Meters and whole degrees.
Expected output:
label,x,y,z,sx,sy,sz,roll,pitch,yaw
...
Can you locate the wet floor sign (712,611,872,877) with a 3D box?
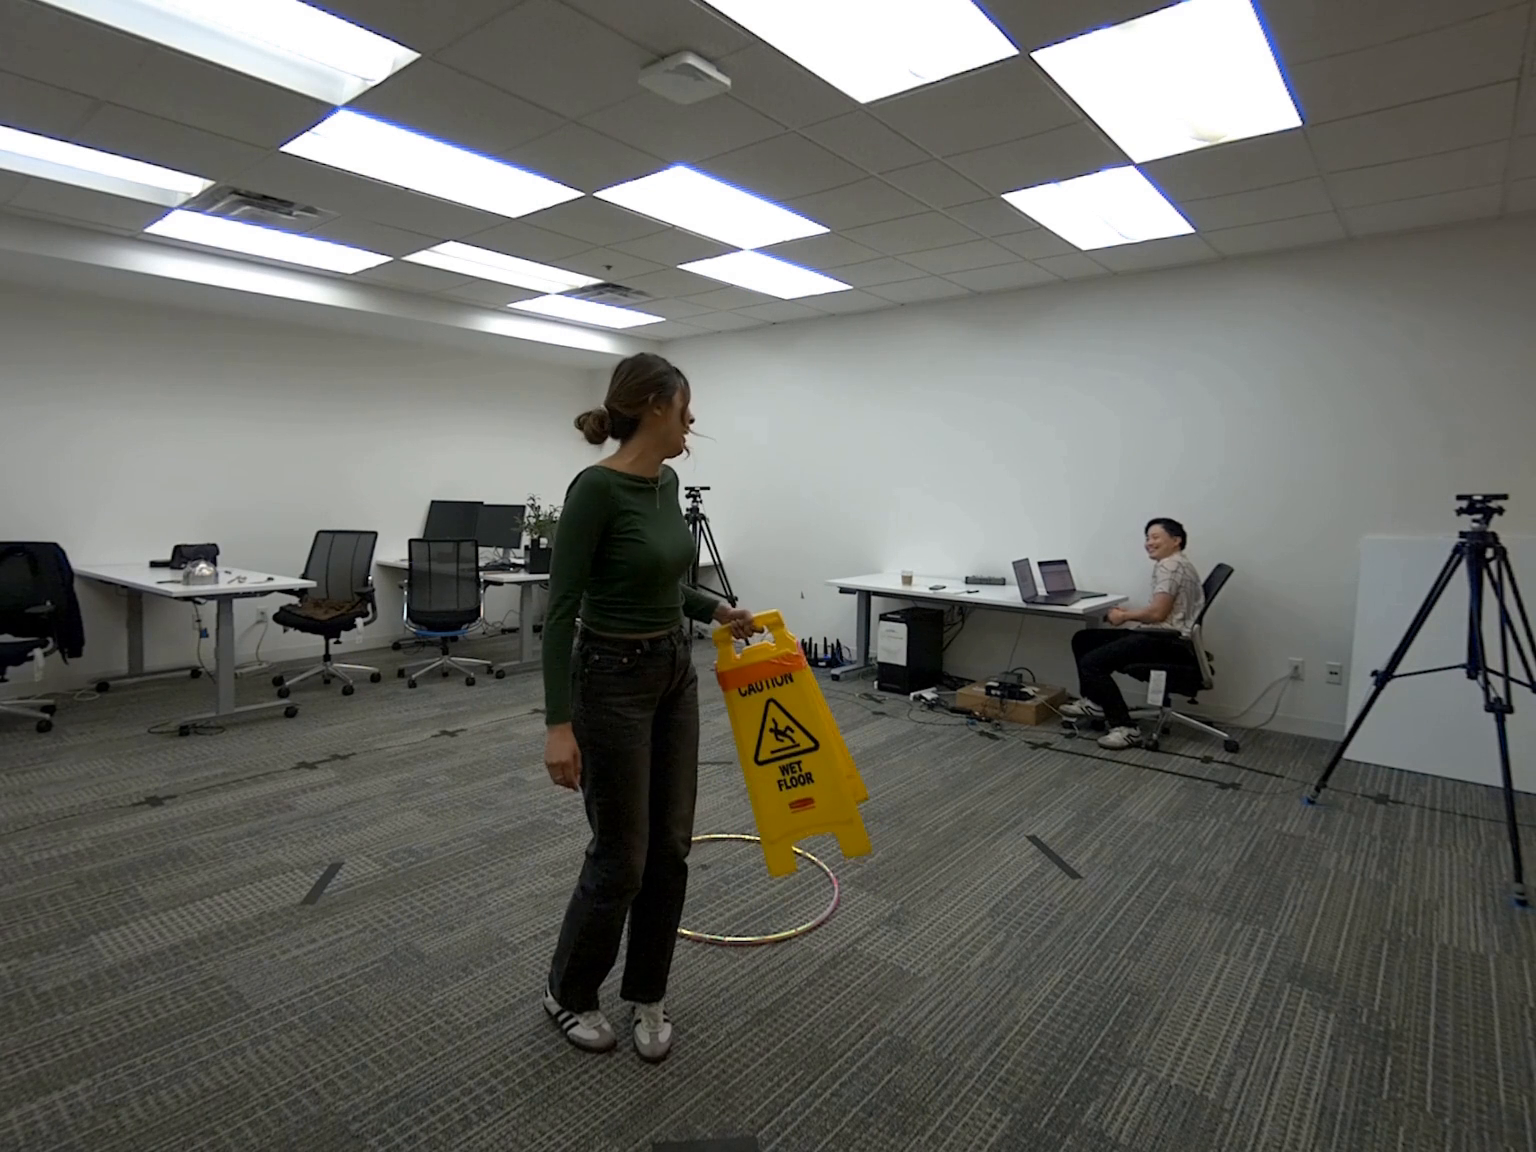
label,x,y,z,sx,sy,sz,roll,pitch,yaw
wet floor sign,0.026,0.420,2.290,0.284,0.640,0.290,-18,7,9
